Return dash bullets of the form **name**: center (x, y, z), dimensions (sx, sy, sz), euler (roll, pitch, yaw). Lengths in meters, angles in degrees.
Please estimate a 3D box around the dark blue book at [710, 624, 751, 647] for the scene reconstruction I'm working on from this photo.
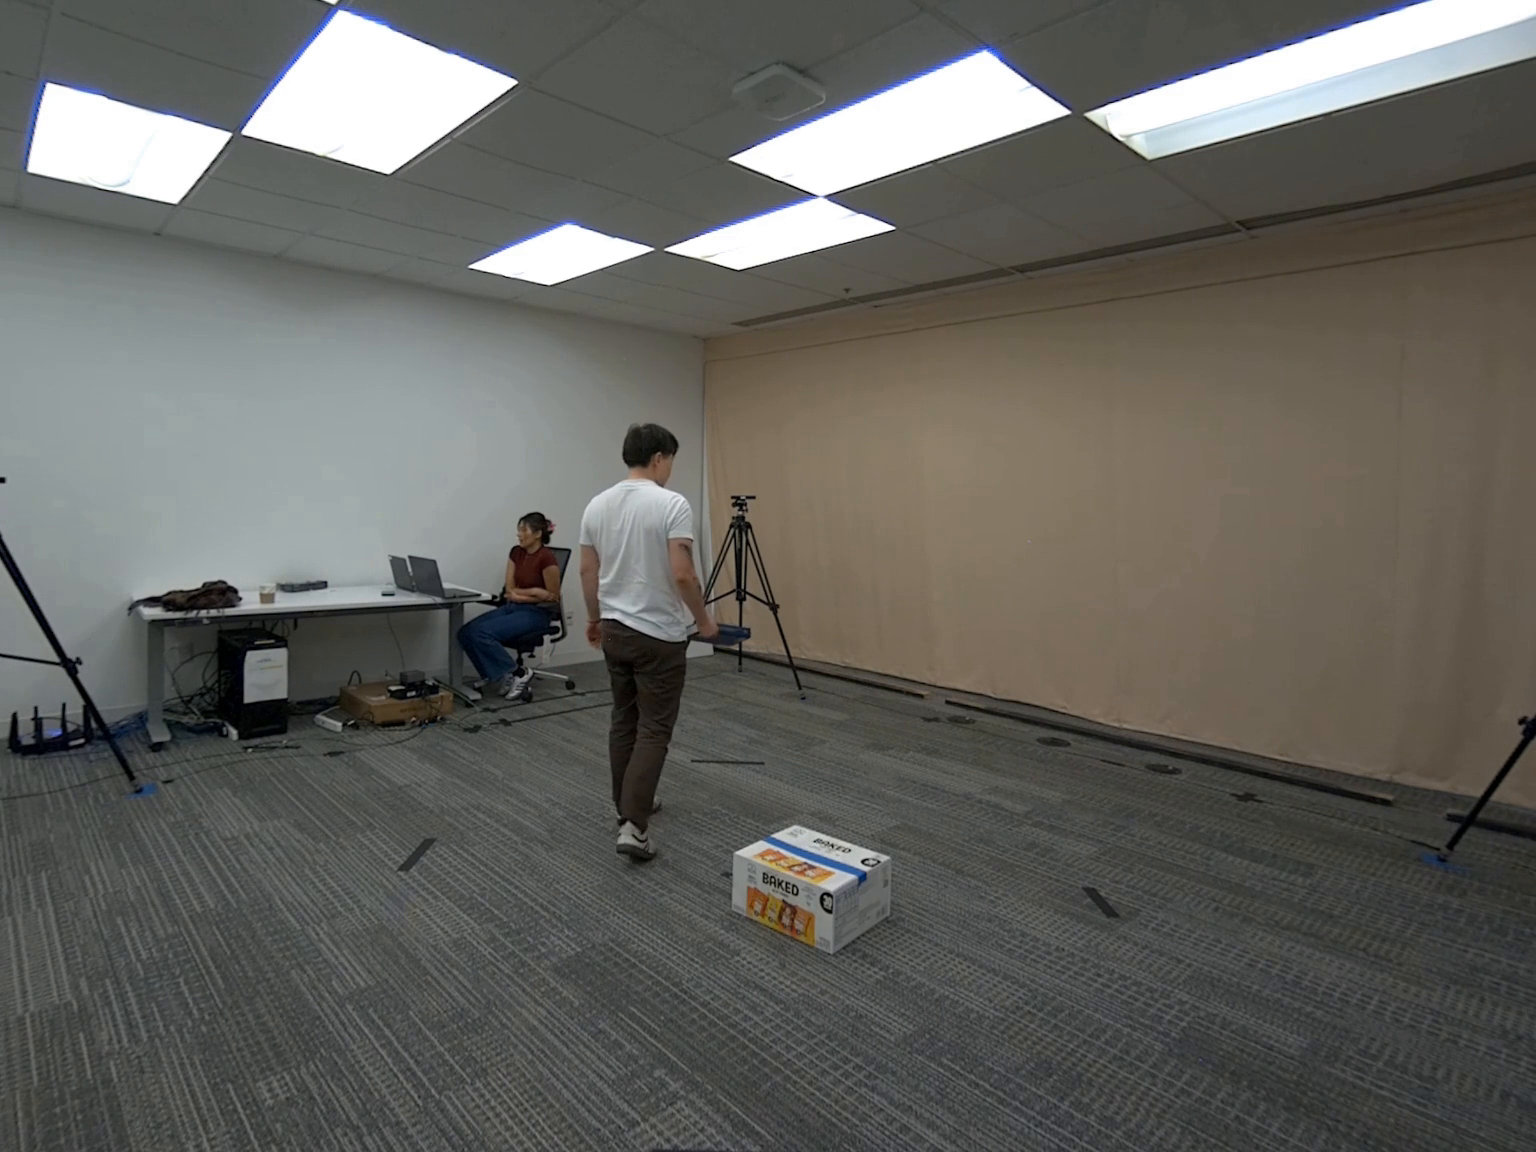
- **dark blue book**: center (-0.218, 0.240, 3.550), dimensions (0.240, 0.046, 0.164), euler (8, -17, -22)
